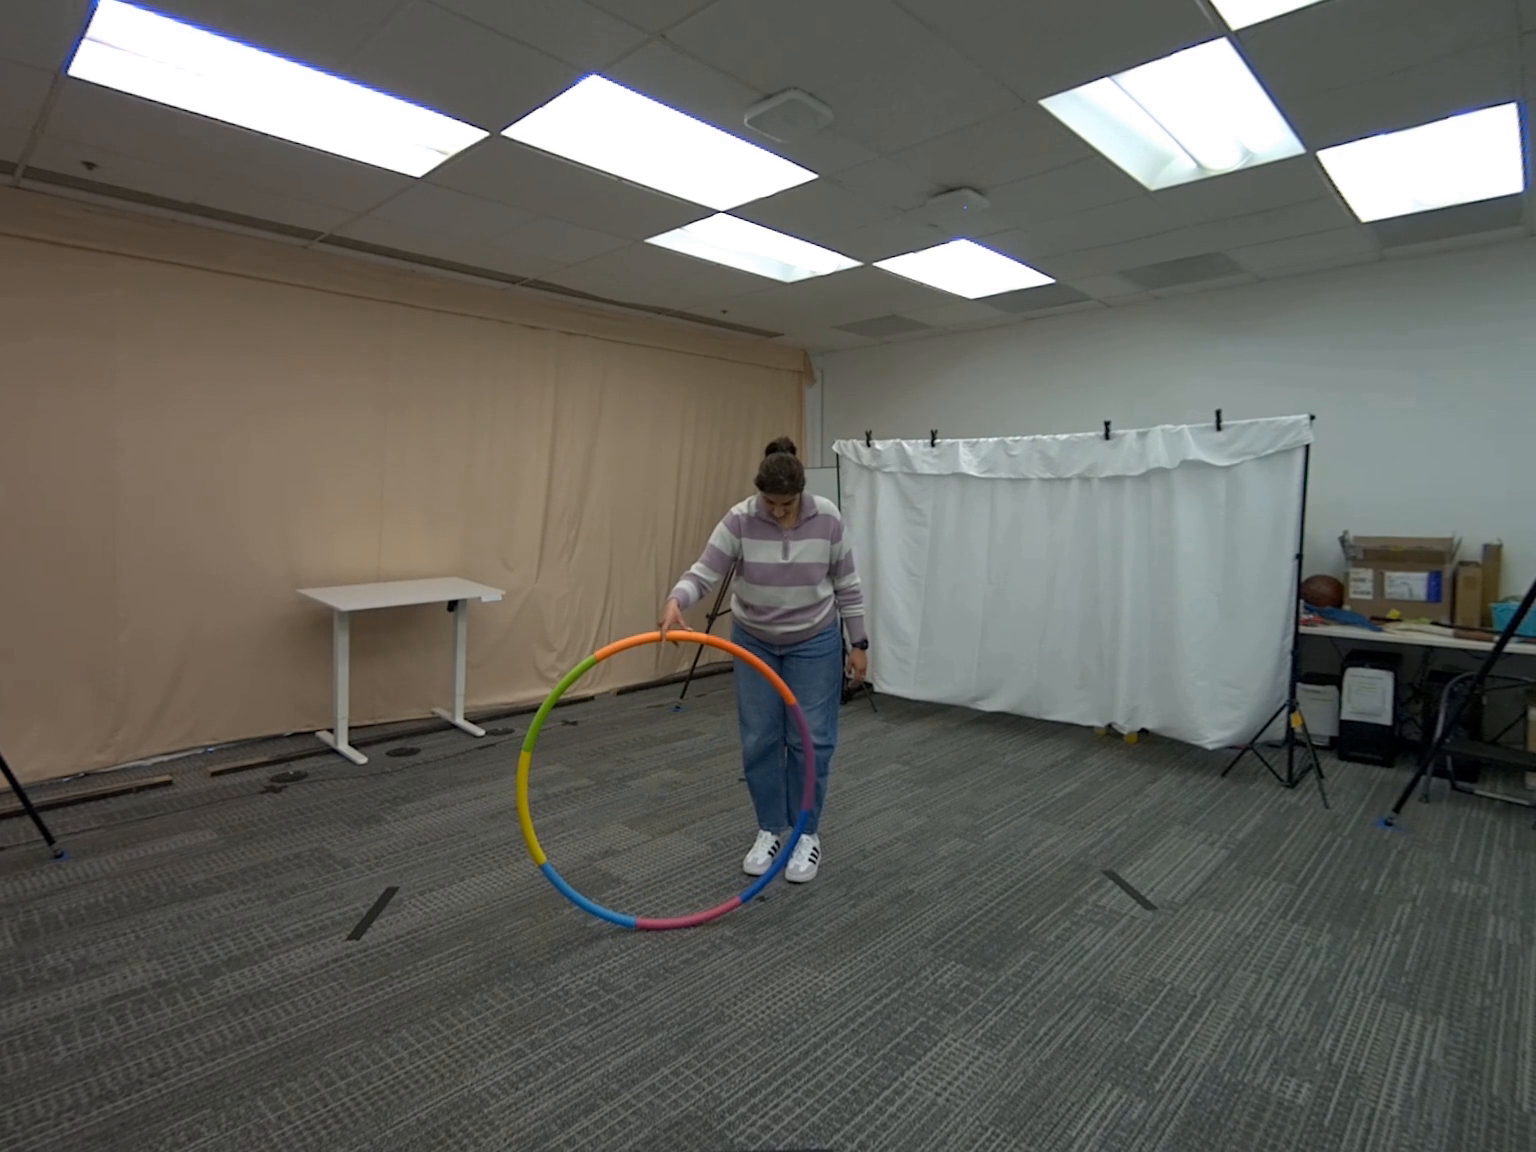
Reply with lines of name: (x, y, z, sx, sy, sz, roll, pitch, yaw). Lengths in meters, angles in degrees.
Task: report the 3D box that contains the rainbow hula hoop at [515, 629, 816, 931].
rainbow hula hoop: (-0.326, 0.676, 2.774, 0.969, 0.978, 0.036, -1, 0, -9)
